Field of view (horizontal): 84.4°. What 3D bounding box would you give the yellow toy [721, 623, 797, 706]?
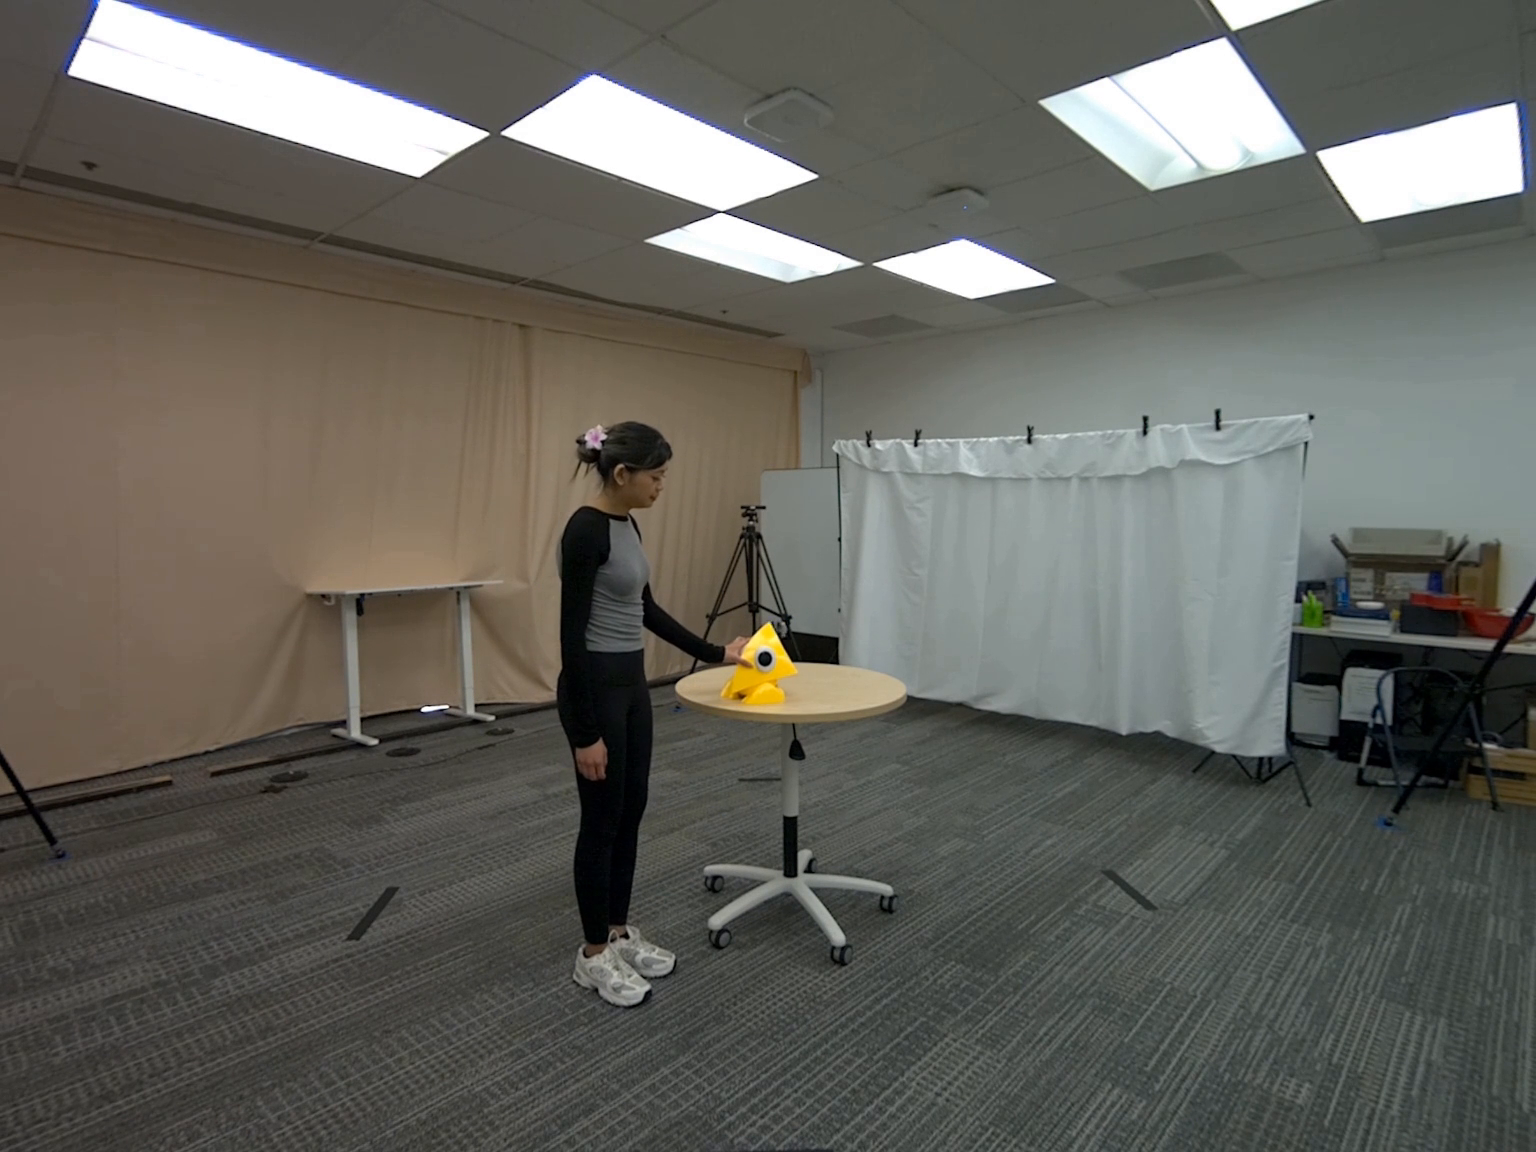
[{"bbox_3d":[-0.038,0.270,2.650,0.187,0.230,0.211,-4,5,-38],"label":"yellow toy"}]
